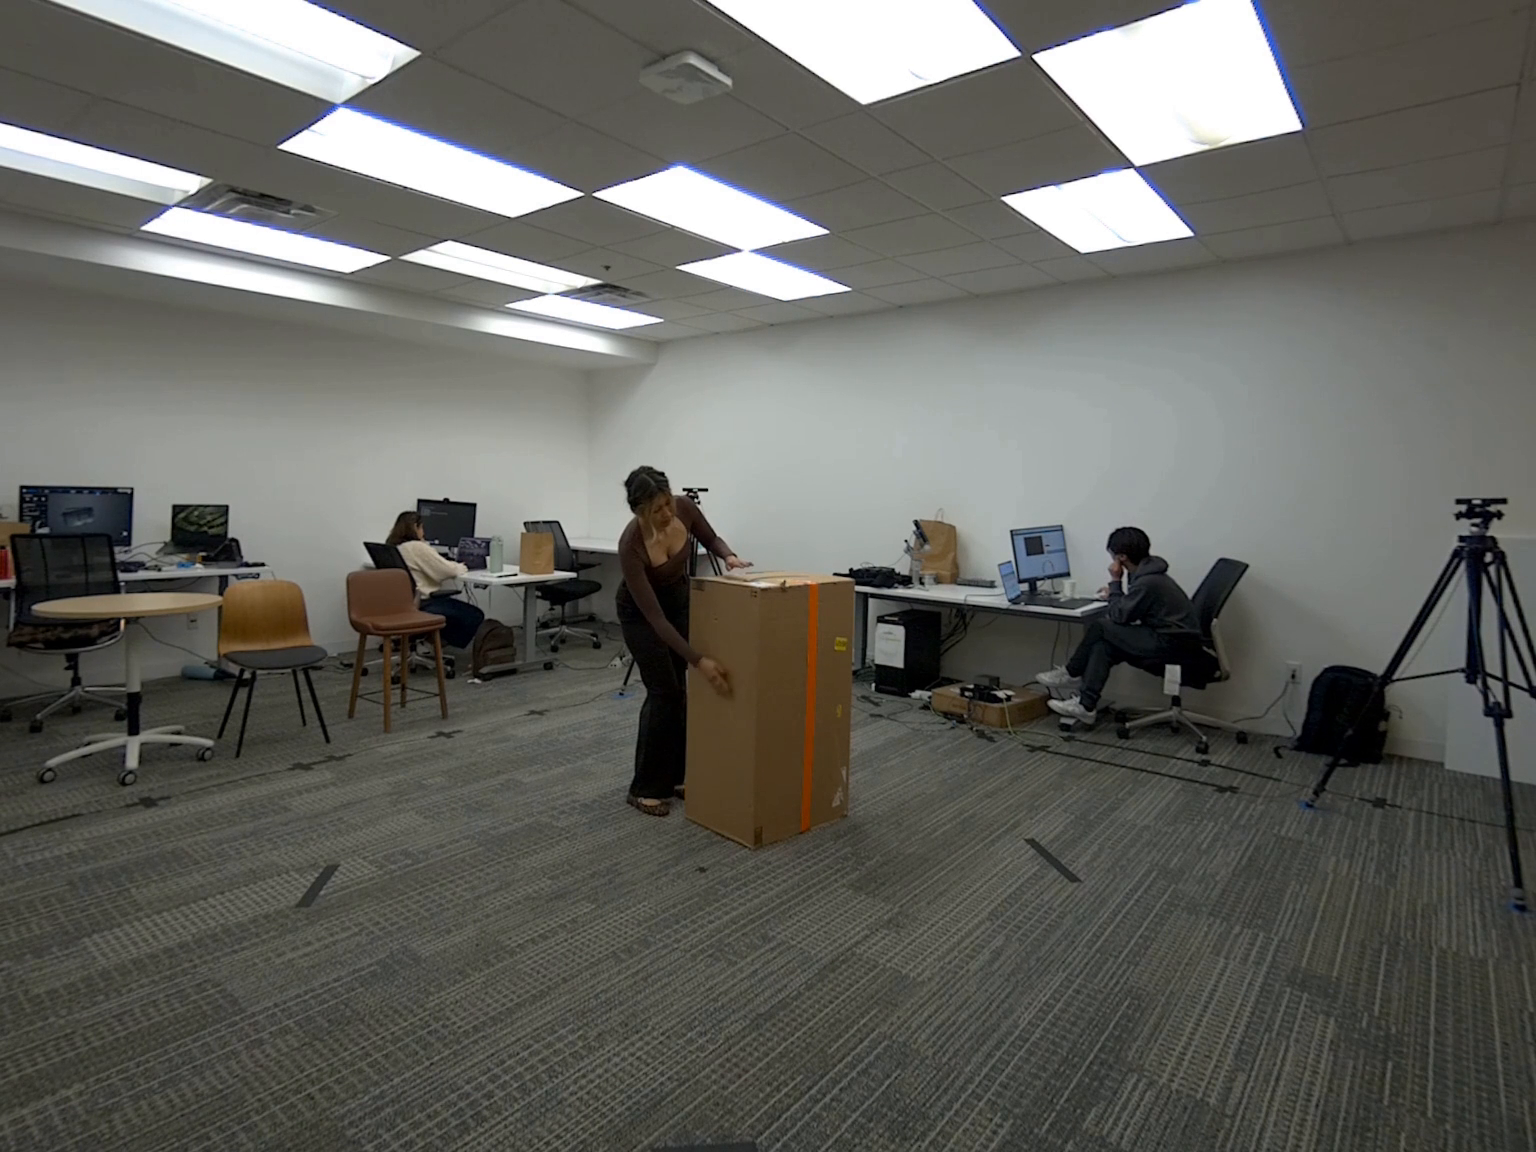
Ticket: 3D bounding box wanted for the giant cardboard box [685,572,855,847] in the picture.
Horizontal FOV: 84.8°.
[{"bbox_3d":[0.001,0.513,3.602,0.566,1.024,0.462,-2,5,-42],"label":"giant cardboard box"}]
